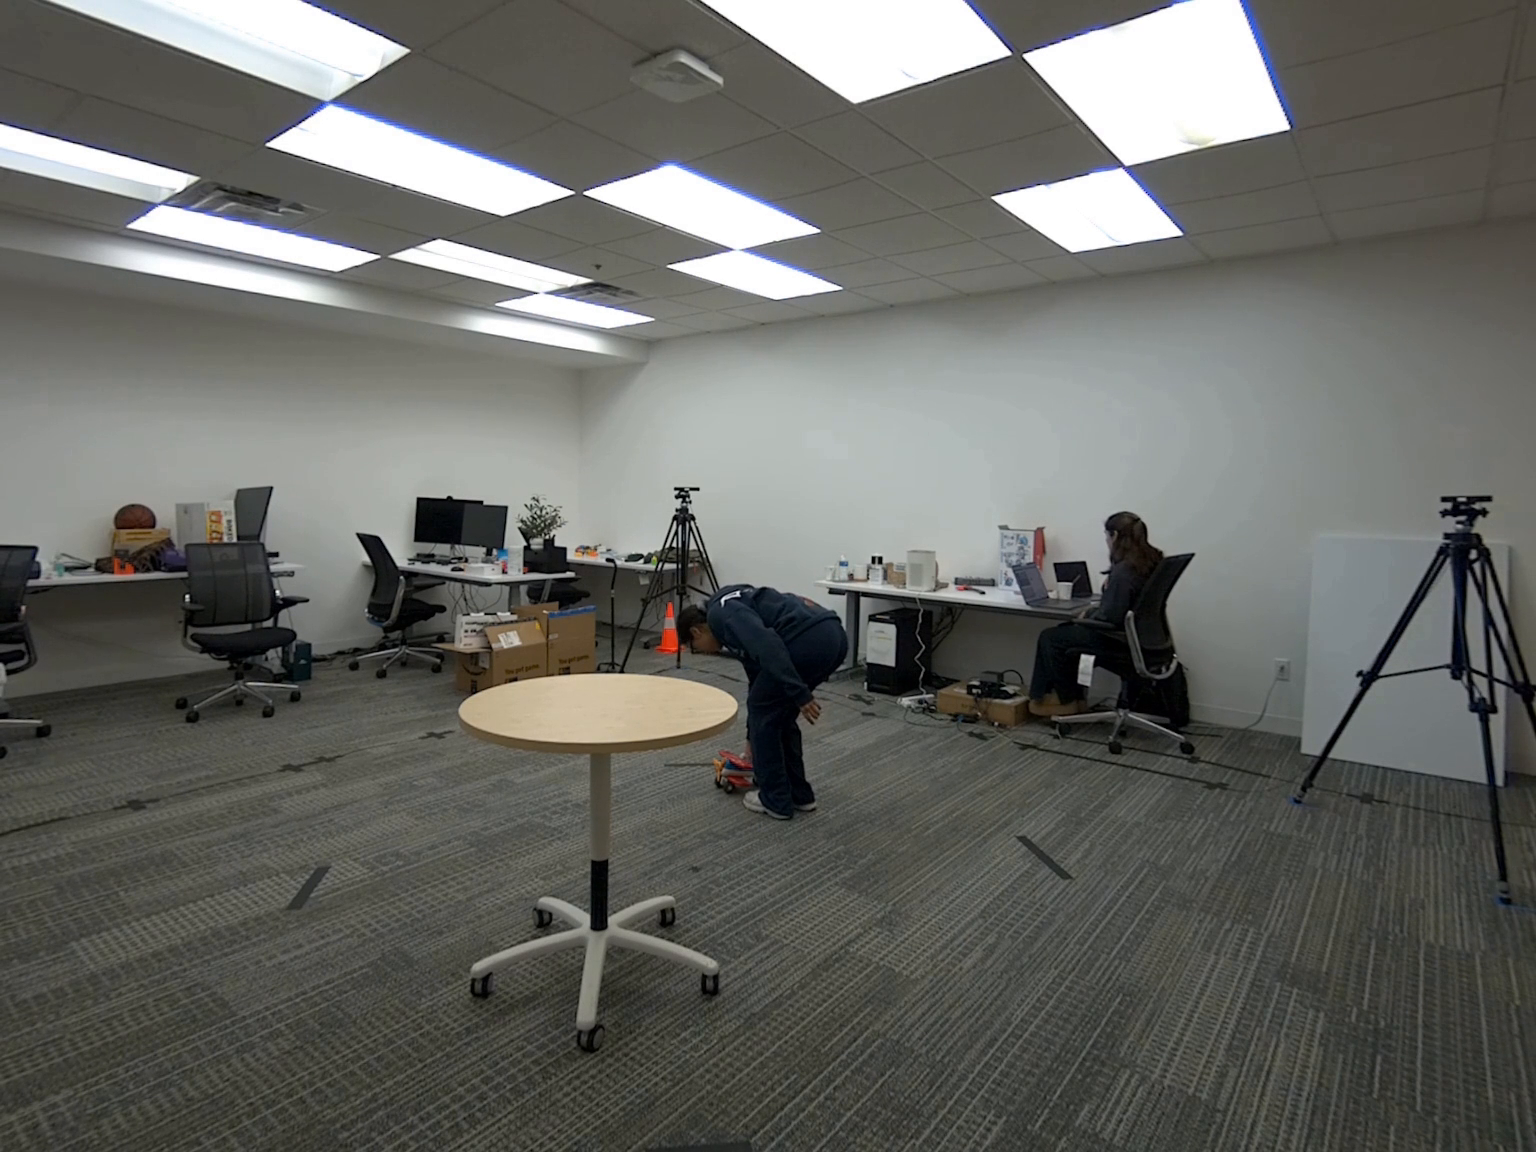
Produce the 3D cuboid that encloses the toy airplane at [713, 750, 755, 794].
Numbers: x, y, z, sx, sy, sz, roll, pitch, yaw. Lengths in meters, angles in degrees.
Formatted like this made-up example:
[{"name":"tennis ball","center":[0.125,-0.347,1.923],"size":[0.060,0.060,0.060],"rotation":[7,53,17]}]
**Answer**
[{"name":"toy airplane","center":[-0.141,0.912,3.990],"size":[0.259,0.156,0.252],"rotation":[2,6,35]}]
